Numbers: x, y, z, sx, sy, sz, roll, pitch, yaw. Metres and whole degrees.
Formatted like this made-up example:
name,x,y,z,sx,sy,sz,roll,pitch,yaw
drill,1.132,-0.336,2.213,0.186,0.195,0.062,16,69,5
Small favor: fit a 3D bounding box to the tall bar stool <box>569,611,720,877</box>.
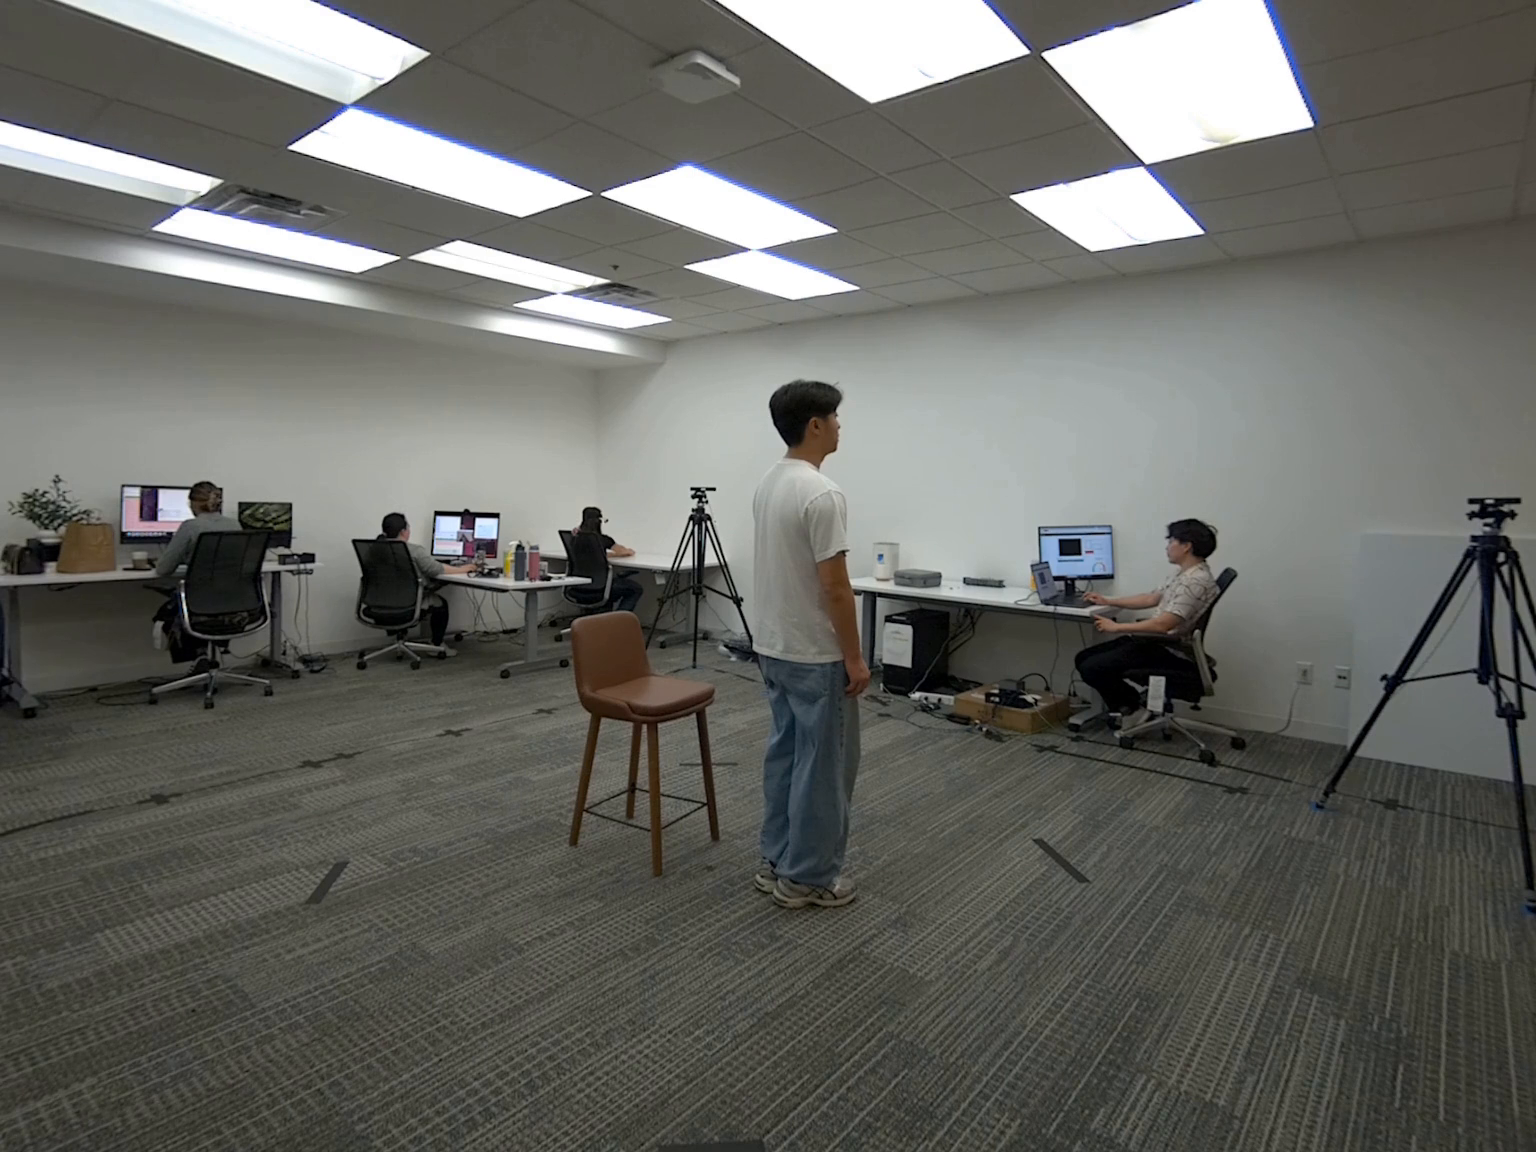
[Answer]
name,x,y,z,sx,sy,sz,roll,pitch,yaw
tall bar stool,-0.490,0.604,3.309,0.481,0.888,0.444,0,2,32
